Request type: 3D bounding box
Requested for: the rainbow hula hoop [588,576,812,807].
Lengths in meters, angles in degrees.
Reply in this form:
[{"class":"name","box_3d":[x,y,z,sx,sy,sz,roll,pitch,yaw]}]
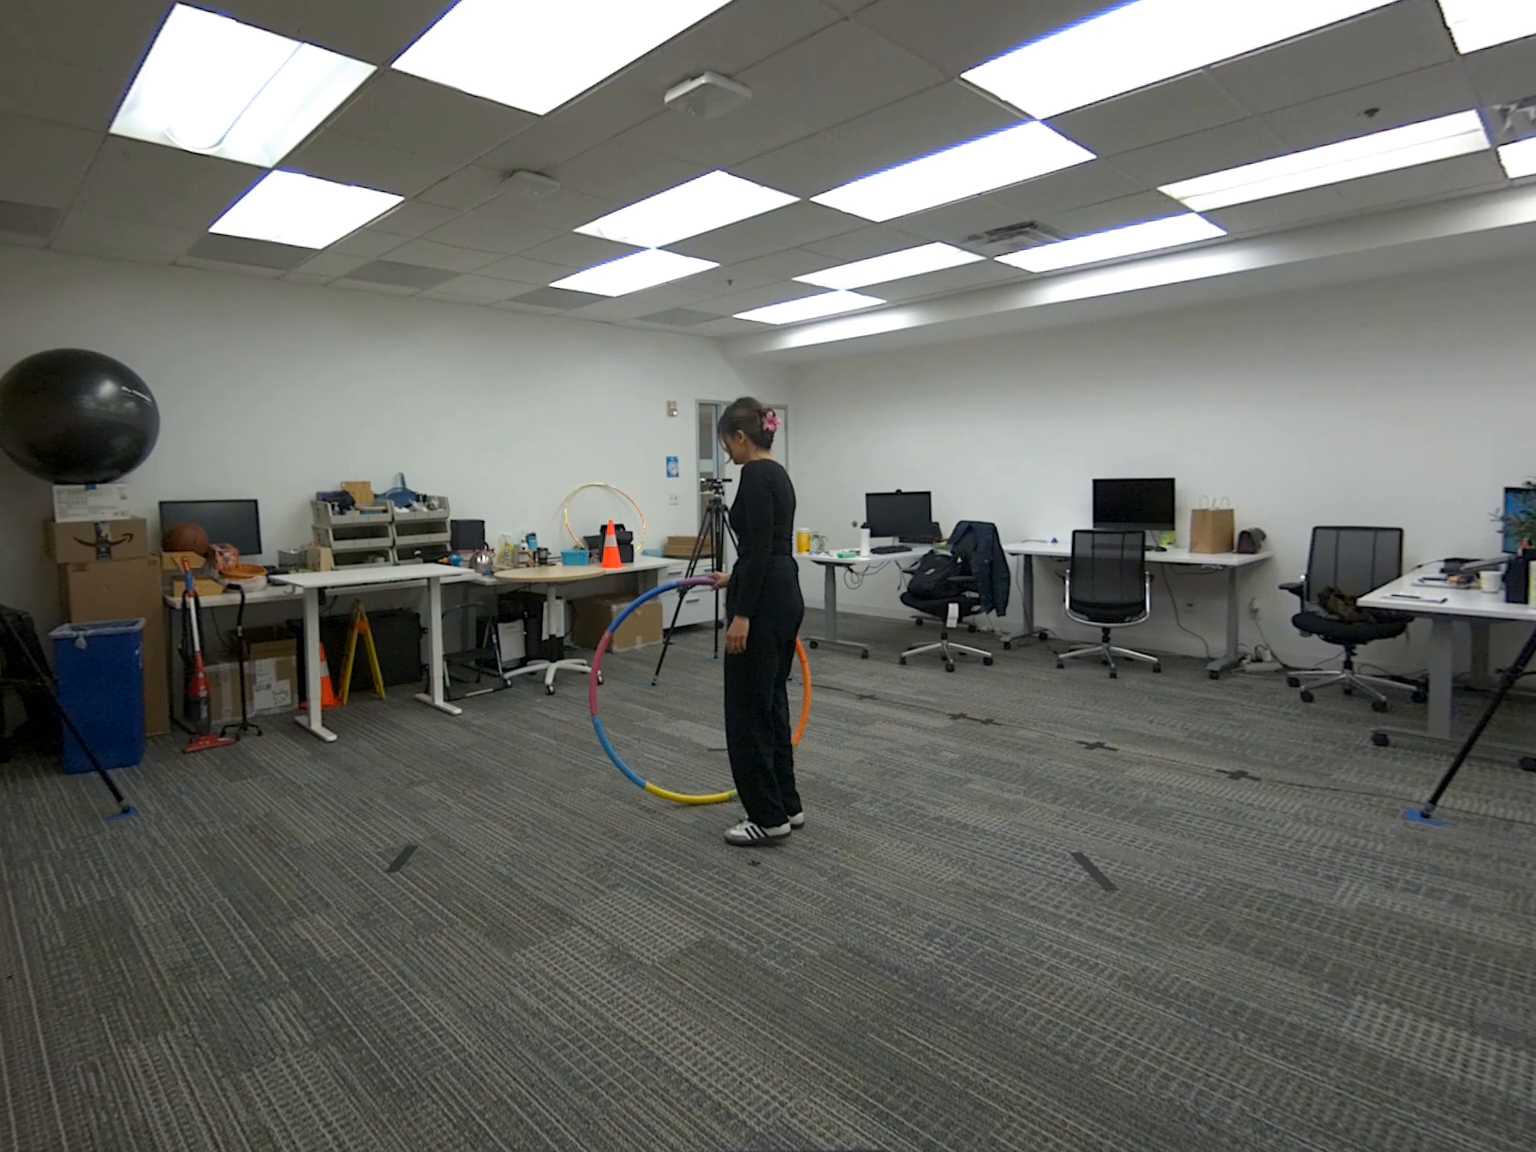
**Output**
[{"class":"rainbow hula hoop","box_3d":[-0.290,0.497,3.756,0.968,0.987,0.035,-2,-9,-12]}]
